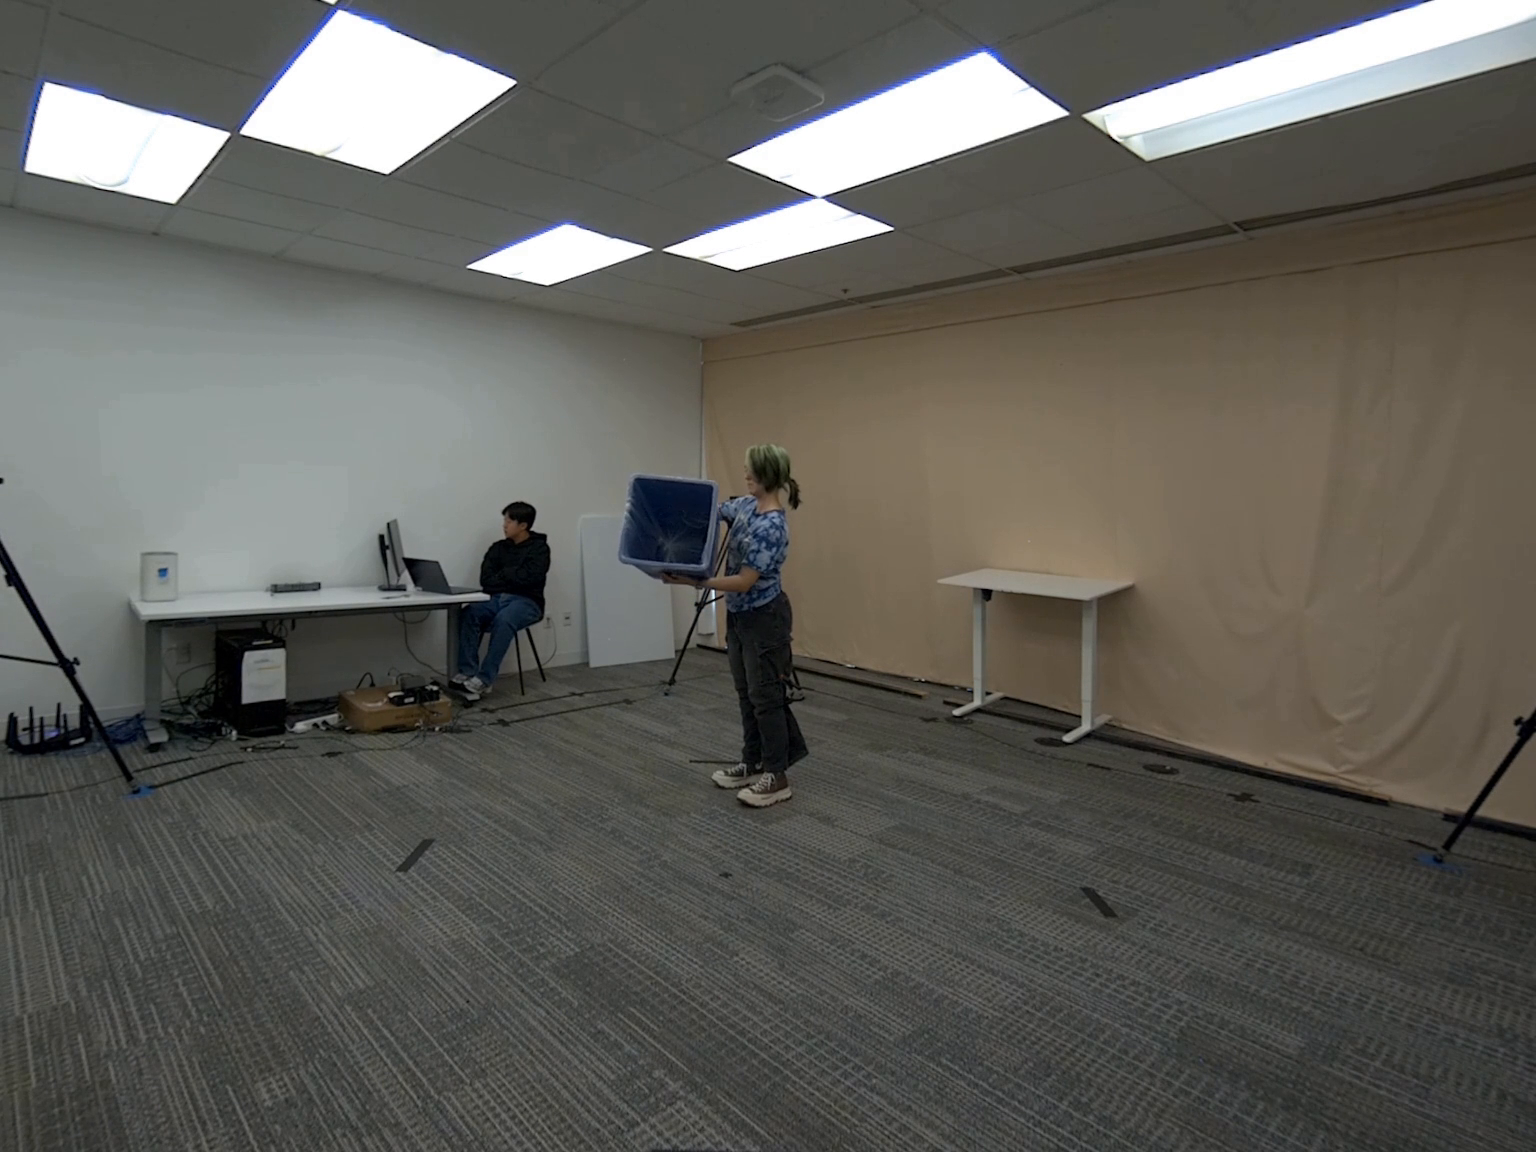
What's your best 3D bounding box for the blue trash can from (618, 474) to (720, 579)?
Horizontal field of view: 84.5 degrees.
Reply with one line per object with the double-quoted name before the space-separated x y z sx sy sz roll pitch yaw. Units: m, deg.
"blue trash can" -0.391 -0.175 3.702 0.375 0.380 0.706 6 -9 3
